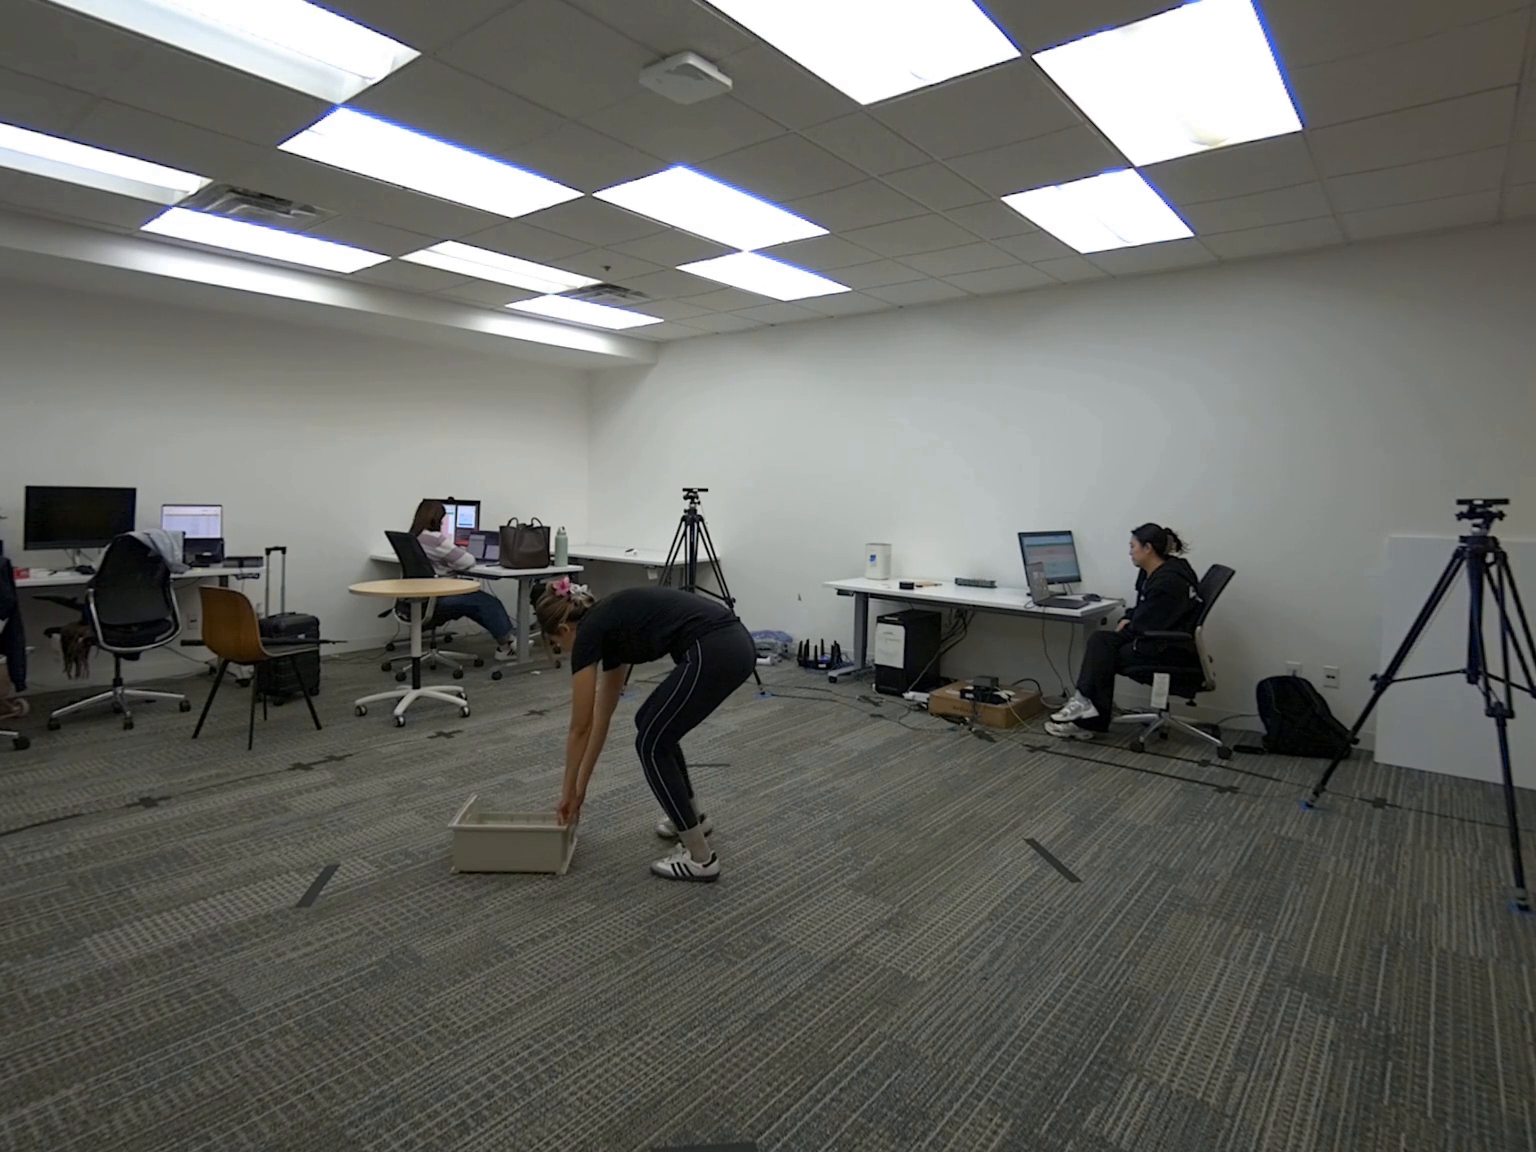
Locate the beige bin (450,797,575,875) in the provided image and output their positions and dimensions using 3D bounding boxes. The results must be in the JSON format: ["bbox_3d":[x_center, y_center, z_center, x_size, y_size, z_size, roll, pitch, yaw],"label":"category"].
[{"bbox_3d":[-0.957,0.958,3.202,0.421,0.188,0.380,1,5,-3],"label":"beige bin"}]
